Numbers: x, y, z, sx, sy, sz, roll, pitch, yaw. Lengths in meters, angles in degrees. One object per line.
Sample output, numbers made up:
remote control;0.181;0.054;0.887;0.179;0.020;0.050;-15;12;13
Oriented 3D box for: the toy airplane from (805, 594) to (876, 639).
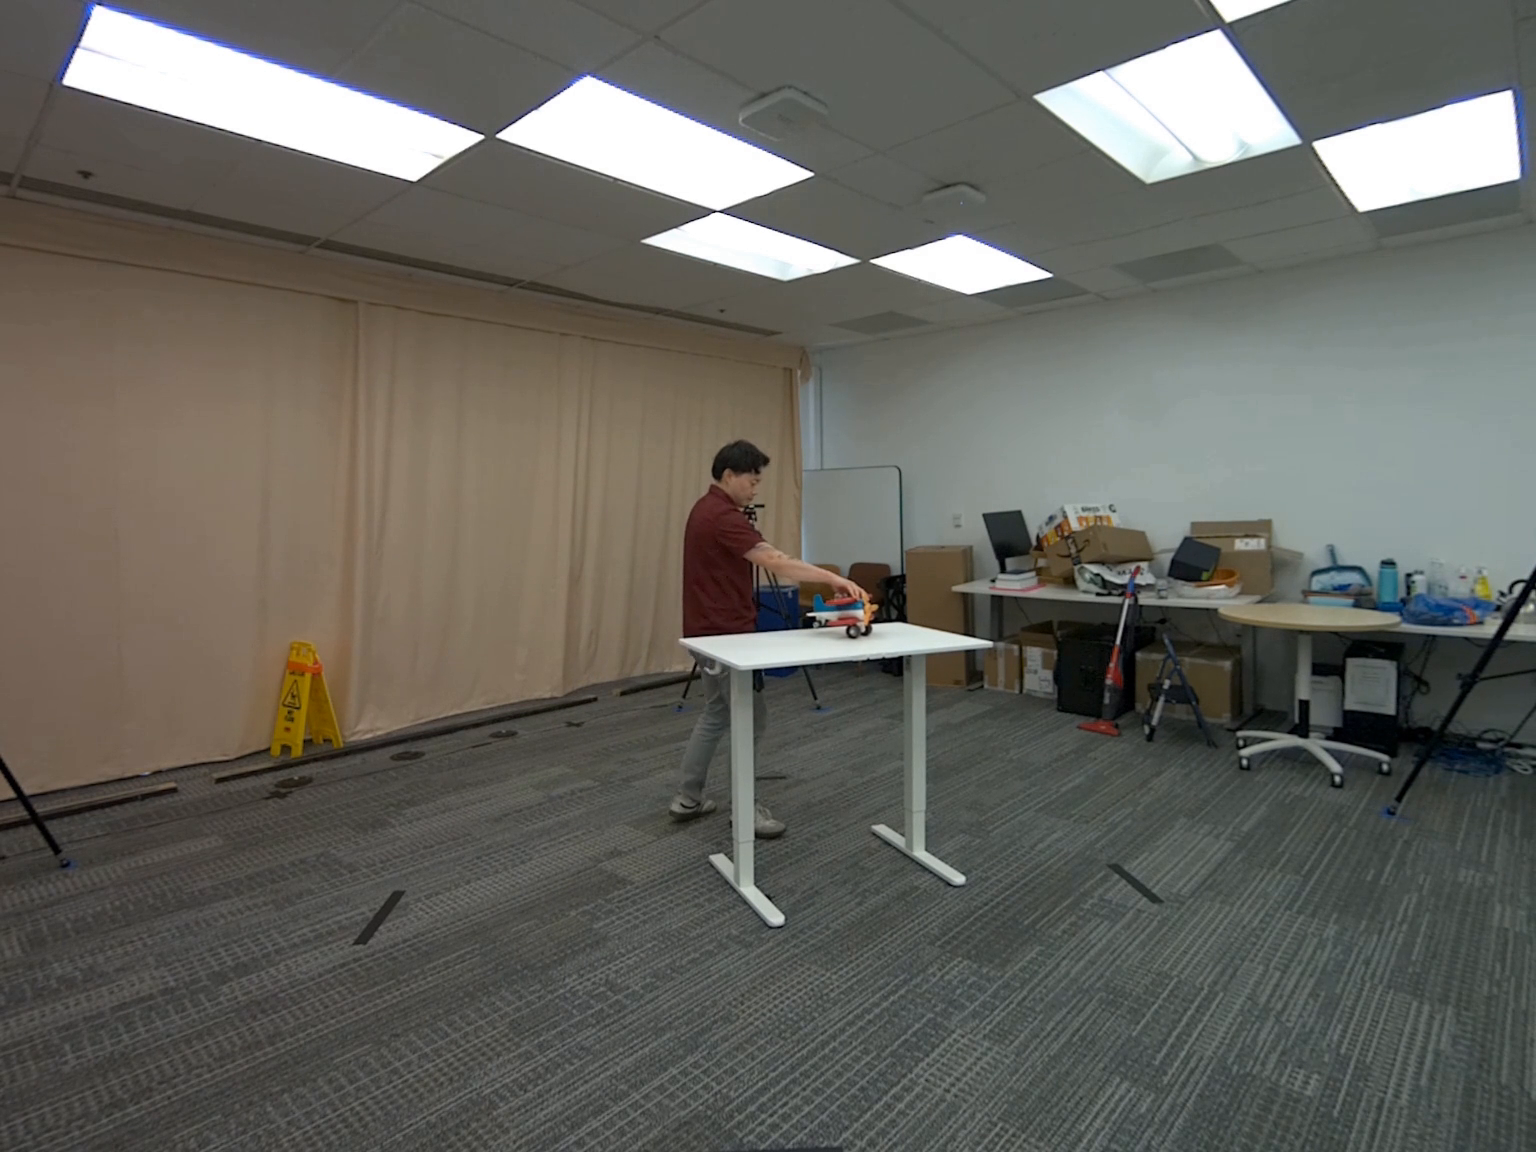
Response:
toy airplane;0.280;0.145;3.240;0.263;0.156;0.249;8;9;11
